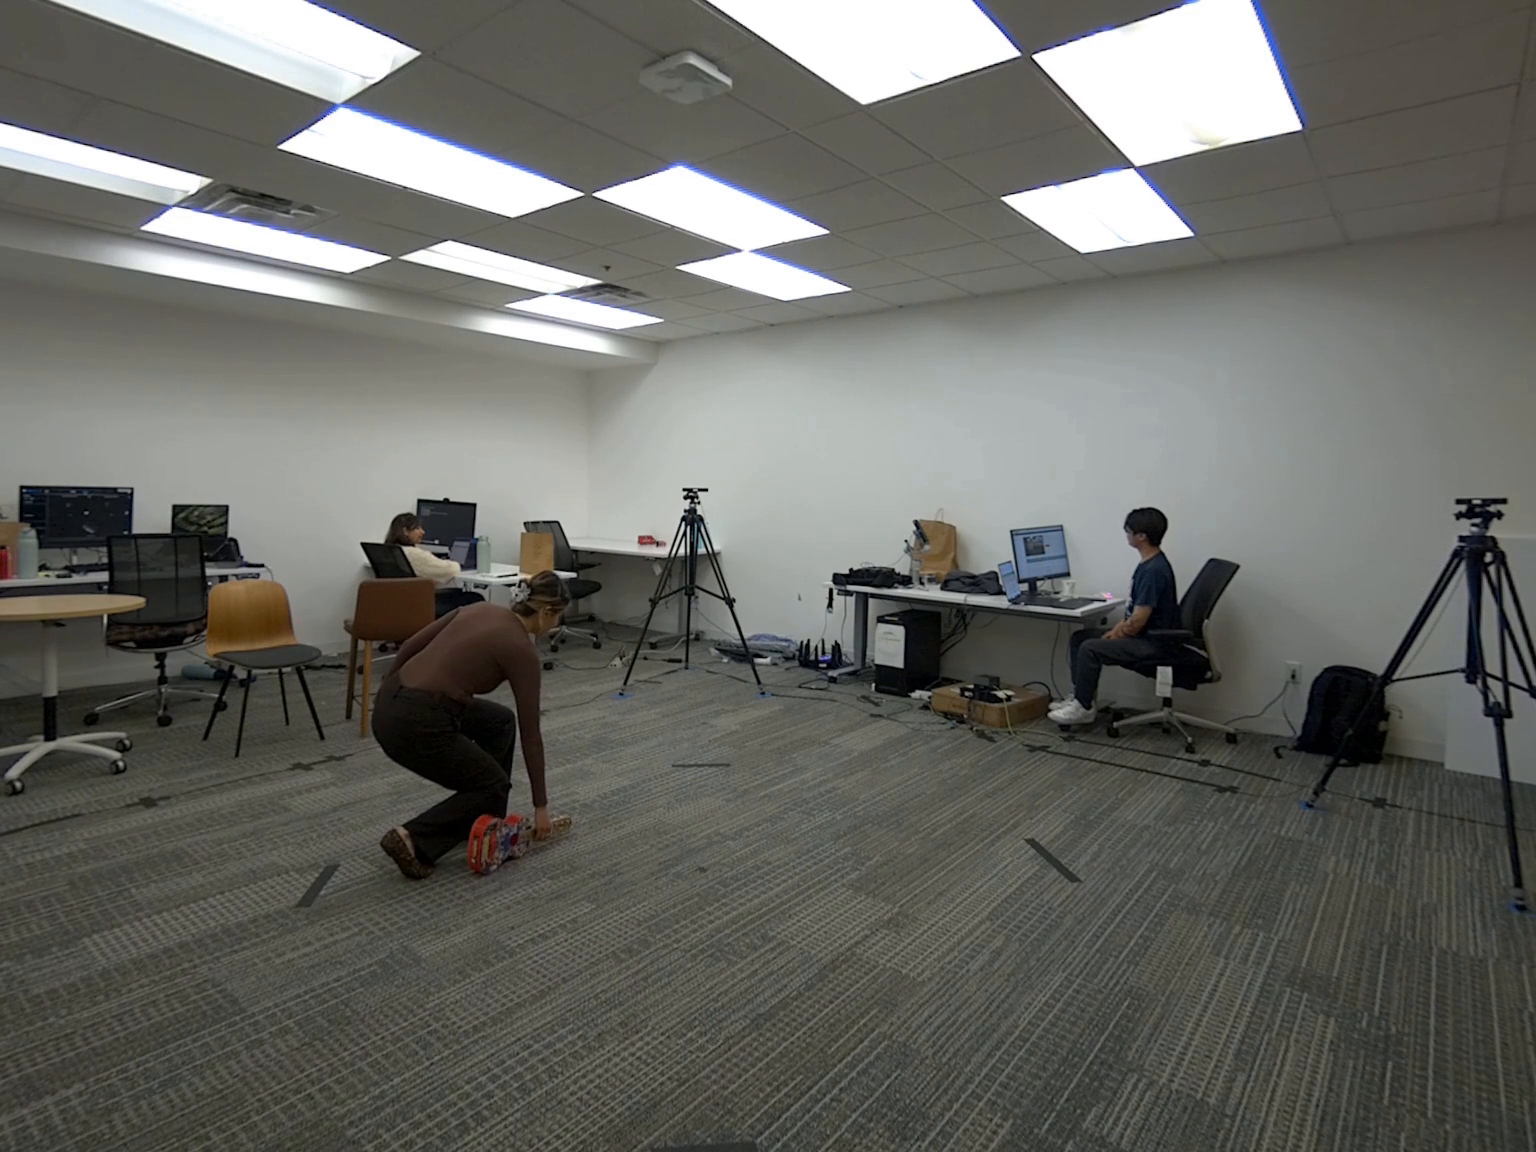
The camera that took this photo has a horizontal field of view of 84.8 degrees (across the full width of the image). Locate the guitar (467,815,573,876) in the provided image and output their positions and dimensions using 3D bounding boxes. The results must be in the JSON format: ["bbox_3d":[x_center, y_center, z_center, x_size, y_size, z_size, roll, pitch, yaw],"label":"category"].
[{"bbox_3d":[-0.946,0.998,3.214,0.073,0.194,0.480,4,-10,27],"label":"guitar"}]
